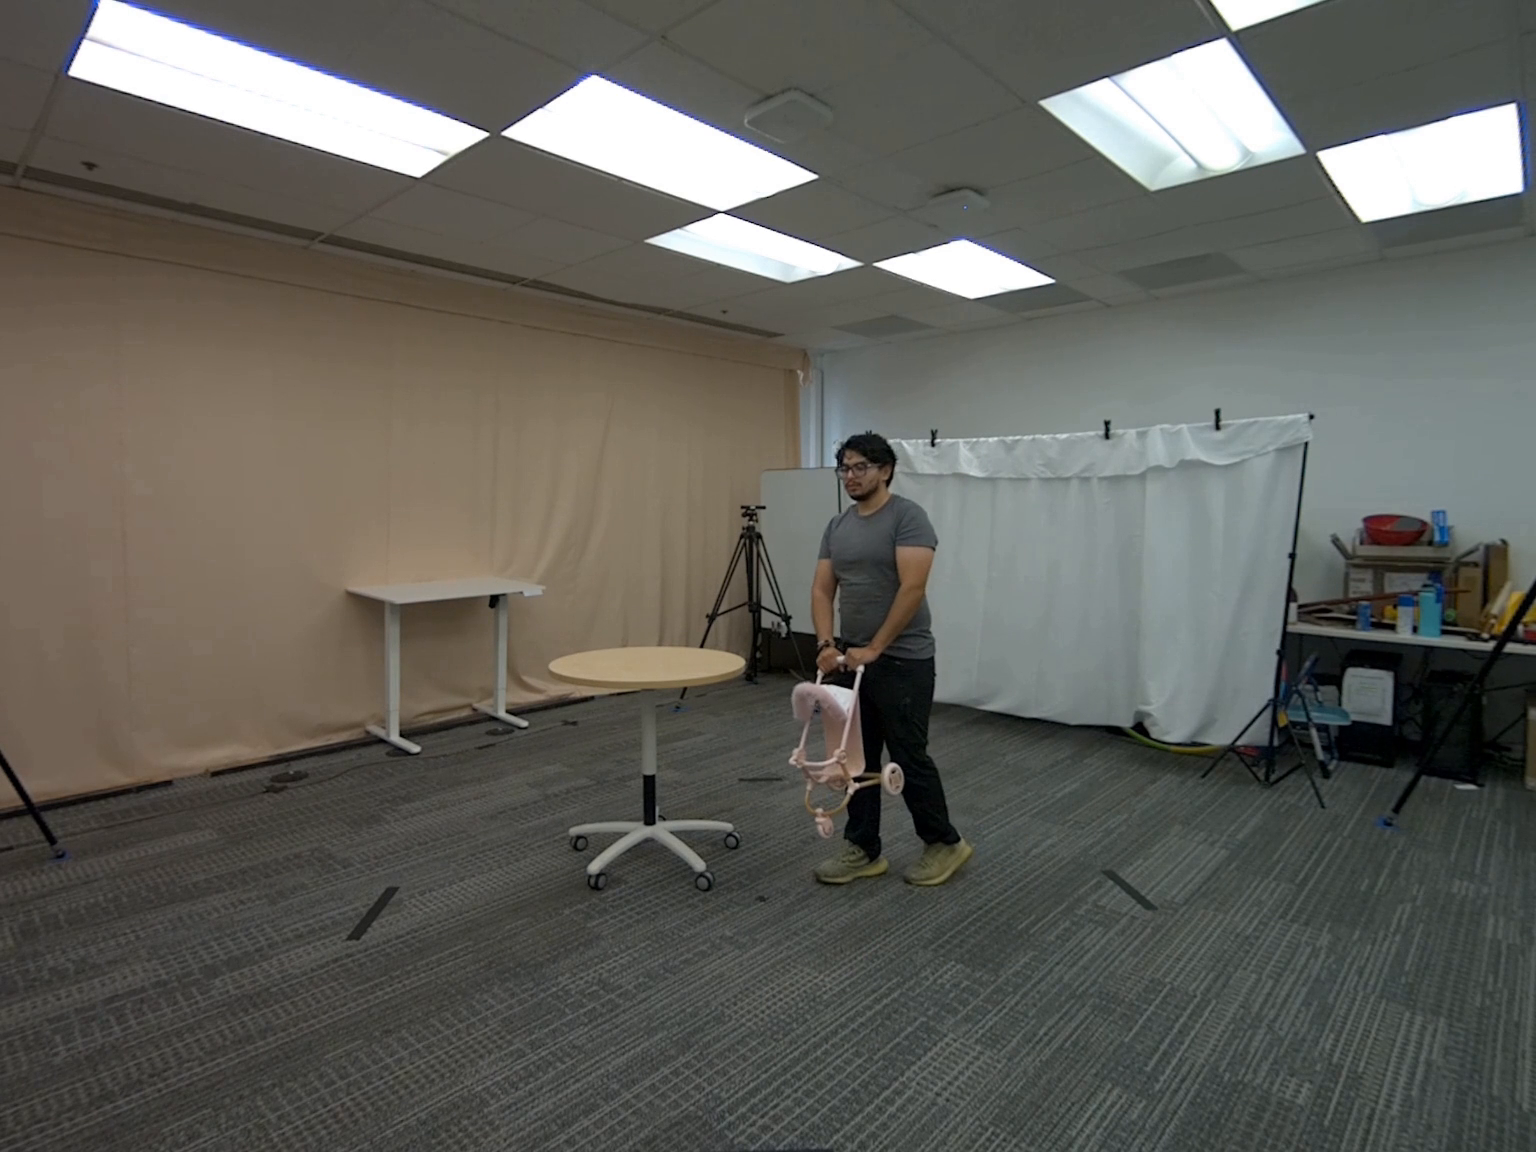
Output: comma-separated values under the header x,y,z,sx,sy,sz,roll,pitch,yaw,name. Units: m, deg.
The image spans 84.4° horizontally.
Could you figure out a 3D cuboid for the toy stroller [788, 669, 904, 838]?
x,y,z,sx,sy,sz,roll,pitch,yaw,name
0.227,0.583,2.865,0.333,0.535,0.289,-15,1,-39,toy stroller
